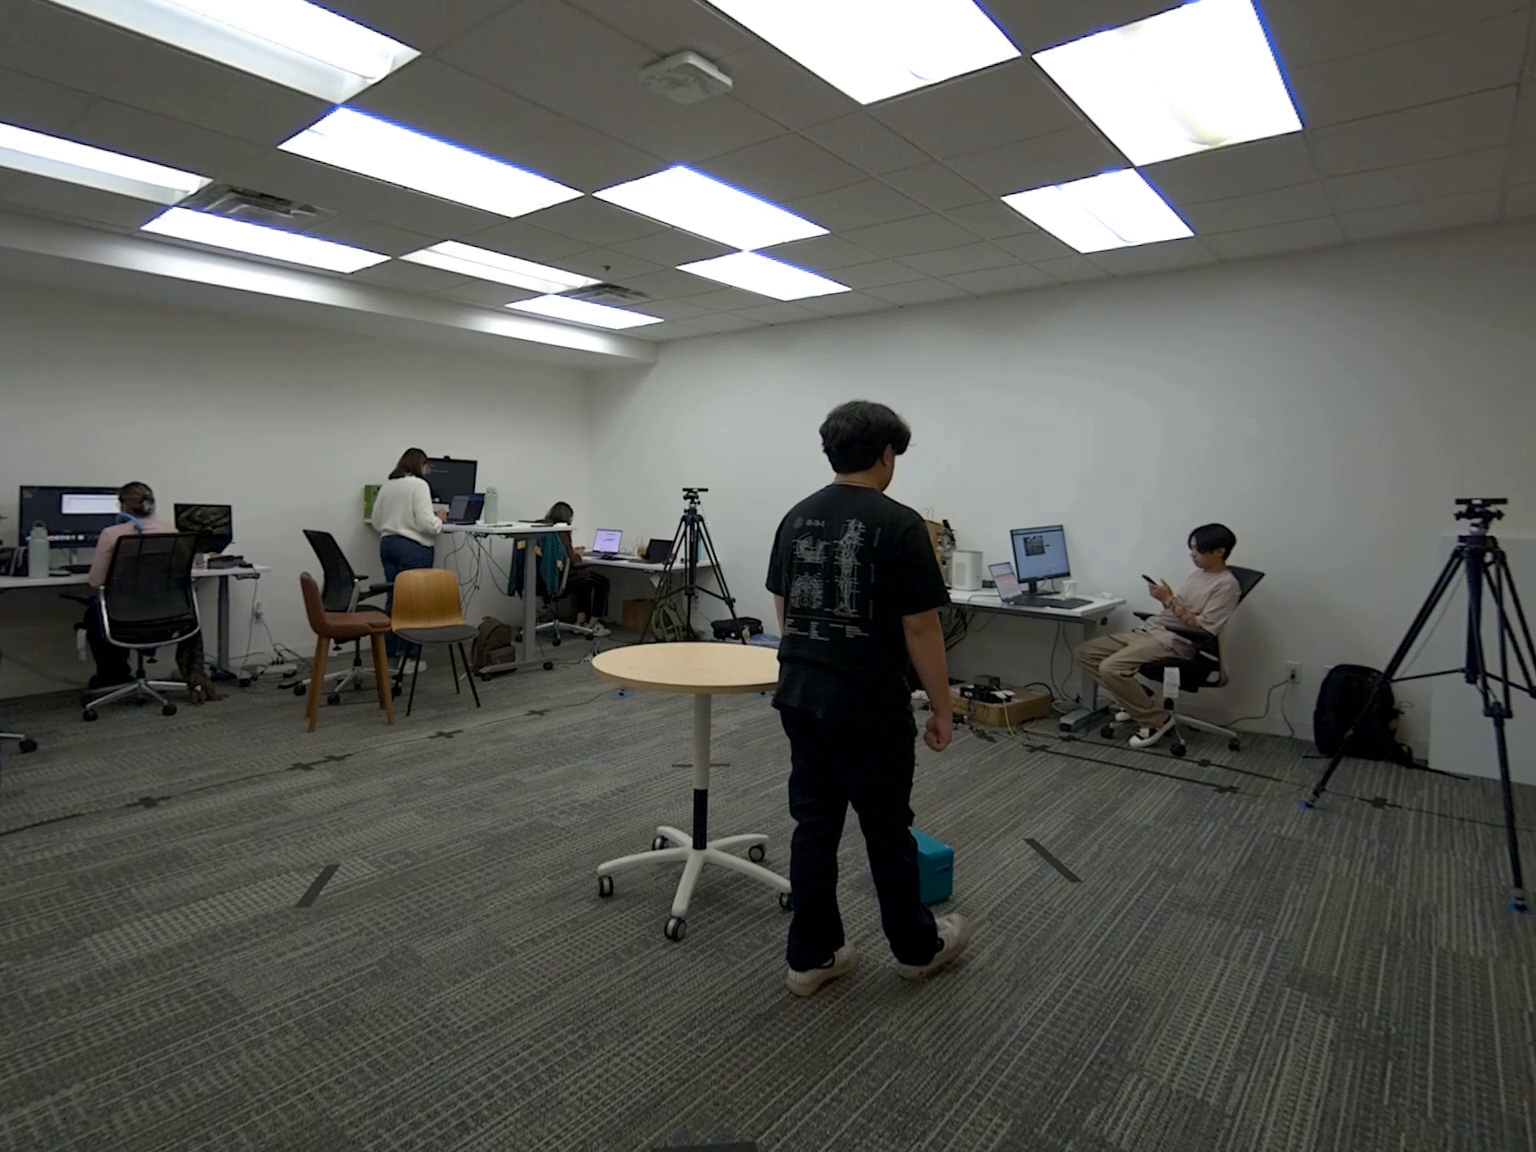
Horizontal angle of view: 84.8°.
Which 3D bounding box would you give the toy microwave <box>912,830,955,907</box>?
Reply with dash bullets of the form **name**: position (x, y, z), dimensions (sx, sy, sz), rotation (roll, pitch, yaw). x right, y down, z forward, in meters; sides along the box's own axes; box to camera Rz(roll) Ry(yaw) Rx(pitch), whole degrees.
- **toy microwave**: position (0.505, 1.000, 3.000), dimensions (0.148, 0.183, 0.295), rotation (-2, 6, -34)
